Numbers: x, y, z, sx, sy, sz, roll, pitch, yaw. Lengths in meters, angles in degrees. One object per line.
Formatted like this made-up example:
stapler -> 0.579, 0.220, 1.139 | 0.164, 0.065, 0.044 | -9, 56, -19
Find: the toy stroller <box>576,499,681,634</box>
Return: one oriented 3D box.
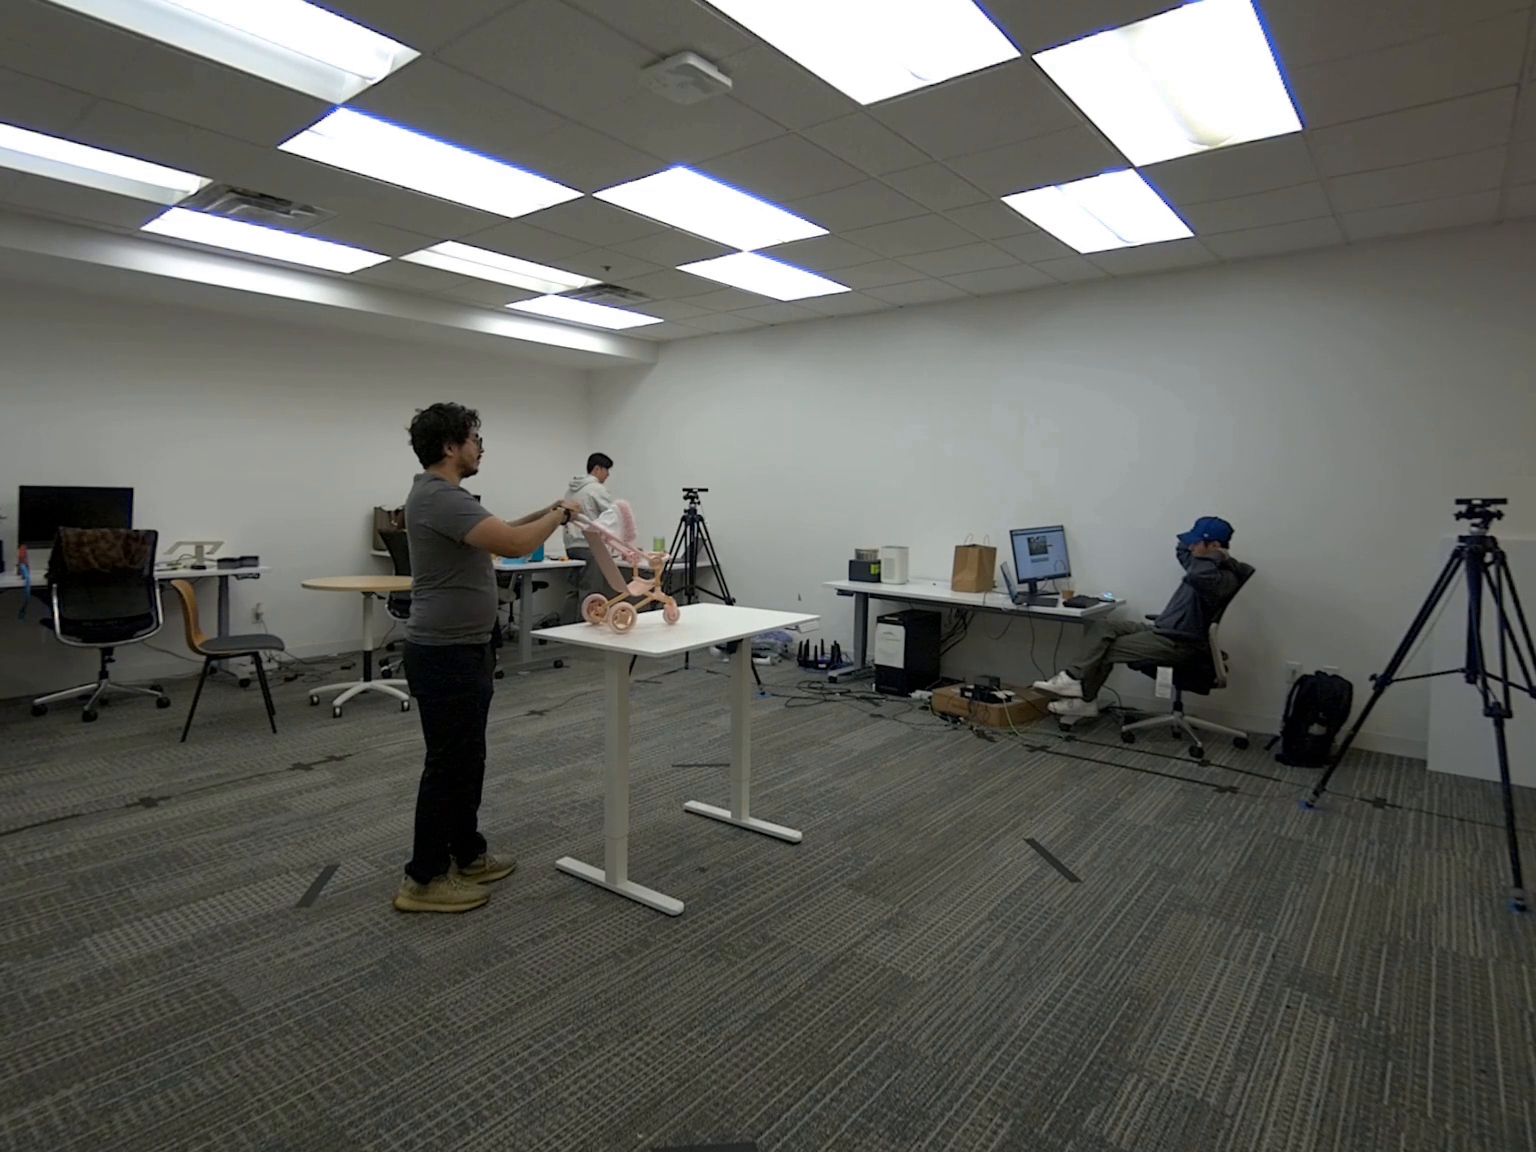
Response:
toy stroller -> -0.530, -0.035, 3.072 | 0.336, 0.528, 0.289 | -18, 12, -25
